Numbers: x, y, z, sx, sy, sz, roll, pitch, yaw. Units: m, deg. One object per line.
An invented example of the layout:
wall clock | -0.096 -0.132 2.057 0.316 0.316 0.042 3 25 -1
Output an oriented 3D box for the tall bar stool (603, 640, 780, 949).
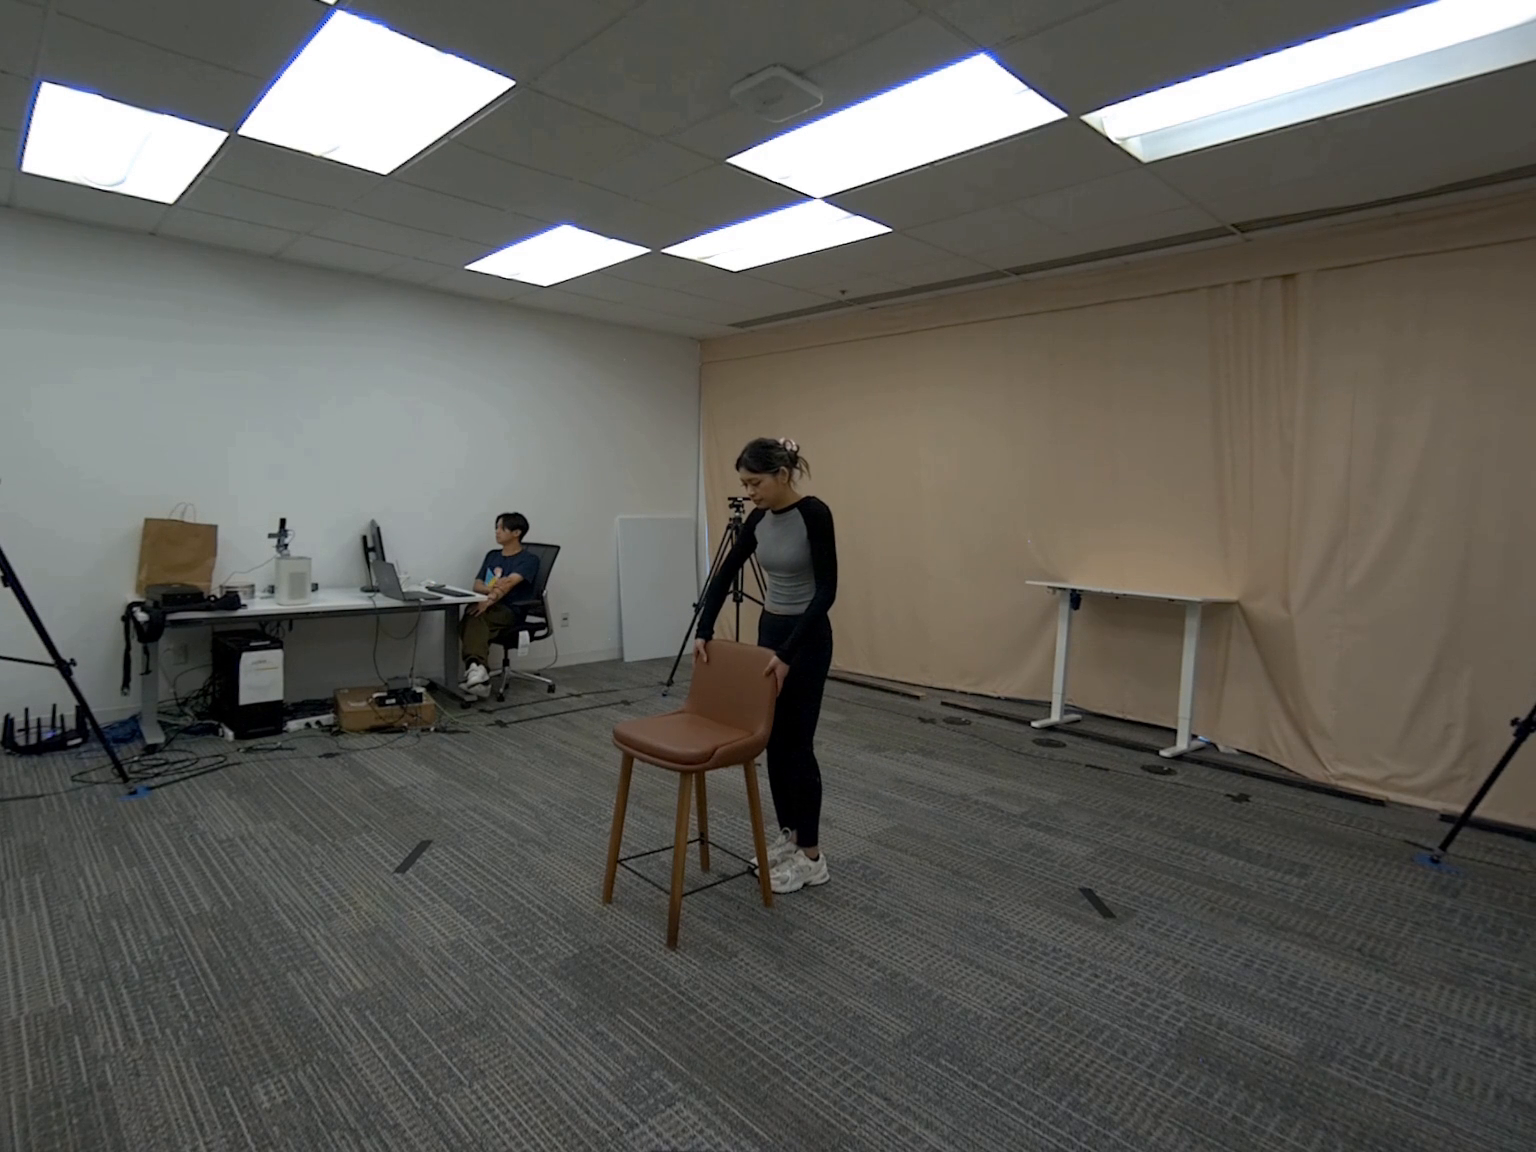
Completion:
tall bar stool | -0.258 0.692 2.854 0.456 0.889 0.468 1 2 -41
